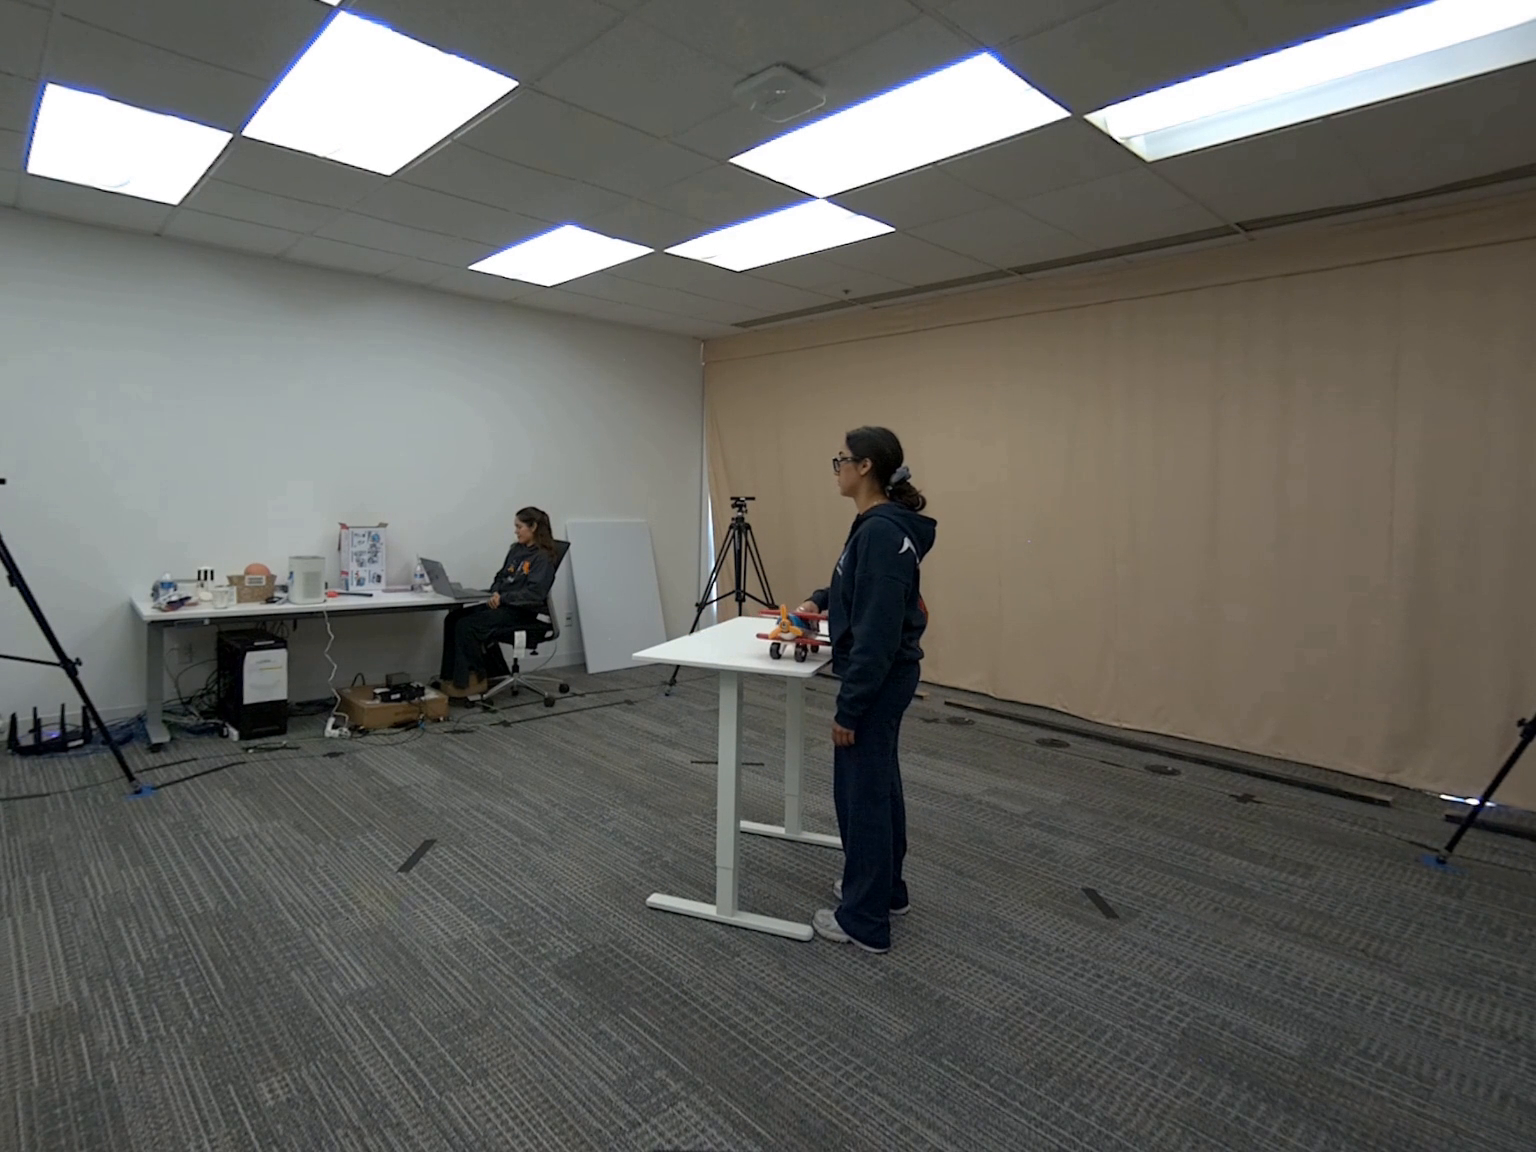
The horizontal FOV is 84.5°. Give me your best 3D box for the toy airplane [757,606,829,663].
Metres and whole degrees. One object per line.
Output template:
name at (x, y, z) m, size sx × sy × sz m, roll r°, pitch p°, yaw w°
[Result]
toy airplane at (0.081, 0.183, 2.769) m, size 0.251 × 0.155 × 0.261 m, roll 0°, pitch 8°, yaw -2°
